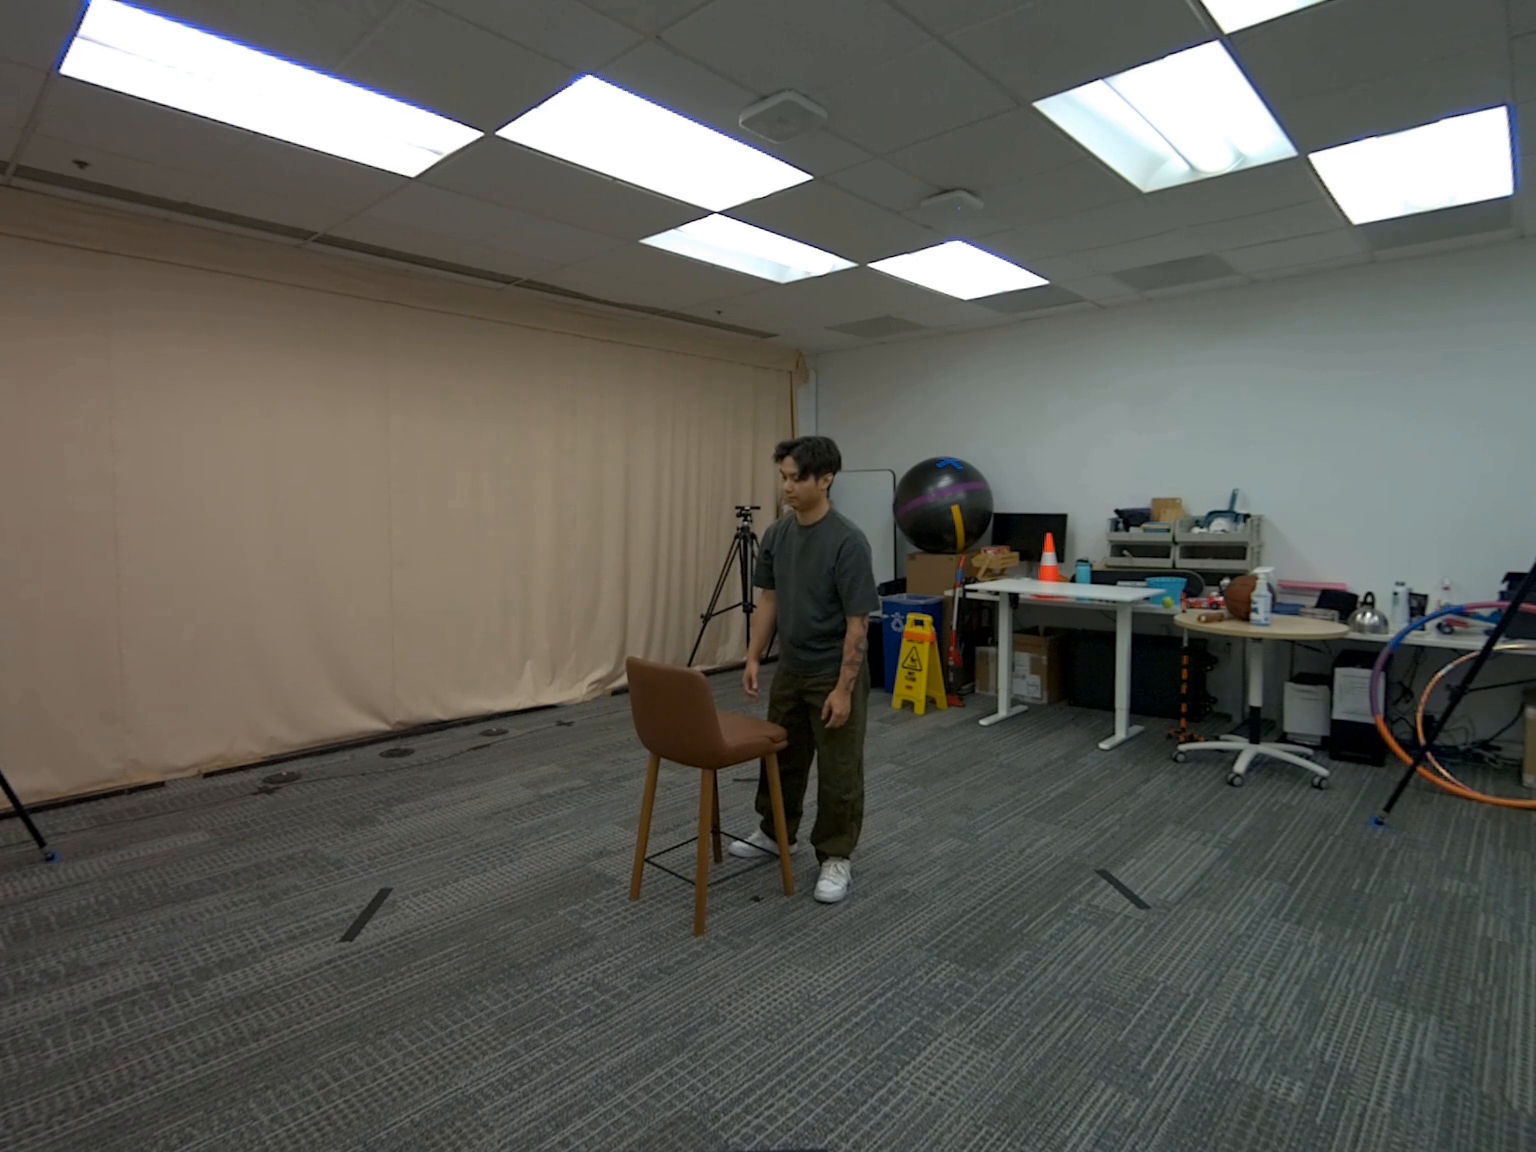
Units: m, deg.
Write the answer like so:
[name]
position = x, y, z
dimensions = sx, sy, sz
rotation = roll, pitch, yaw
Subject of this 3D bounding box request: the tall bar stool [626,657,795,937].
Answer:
[tall bar stool]
position = -0.208, 0.710, 2.979
dimensions = 0.454, 0.887, 0.472
rotation = -6, 6, -44
